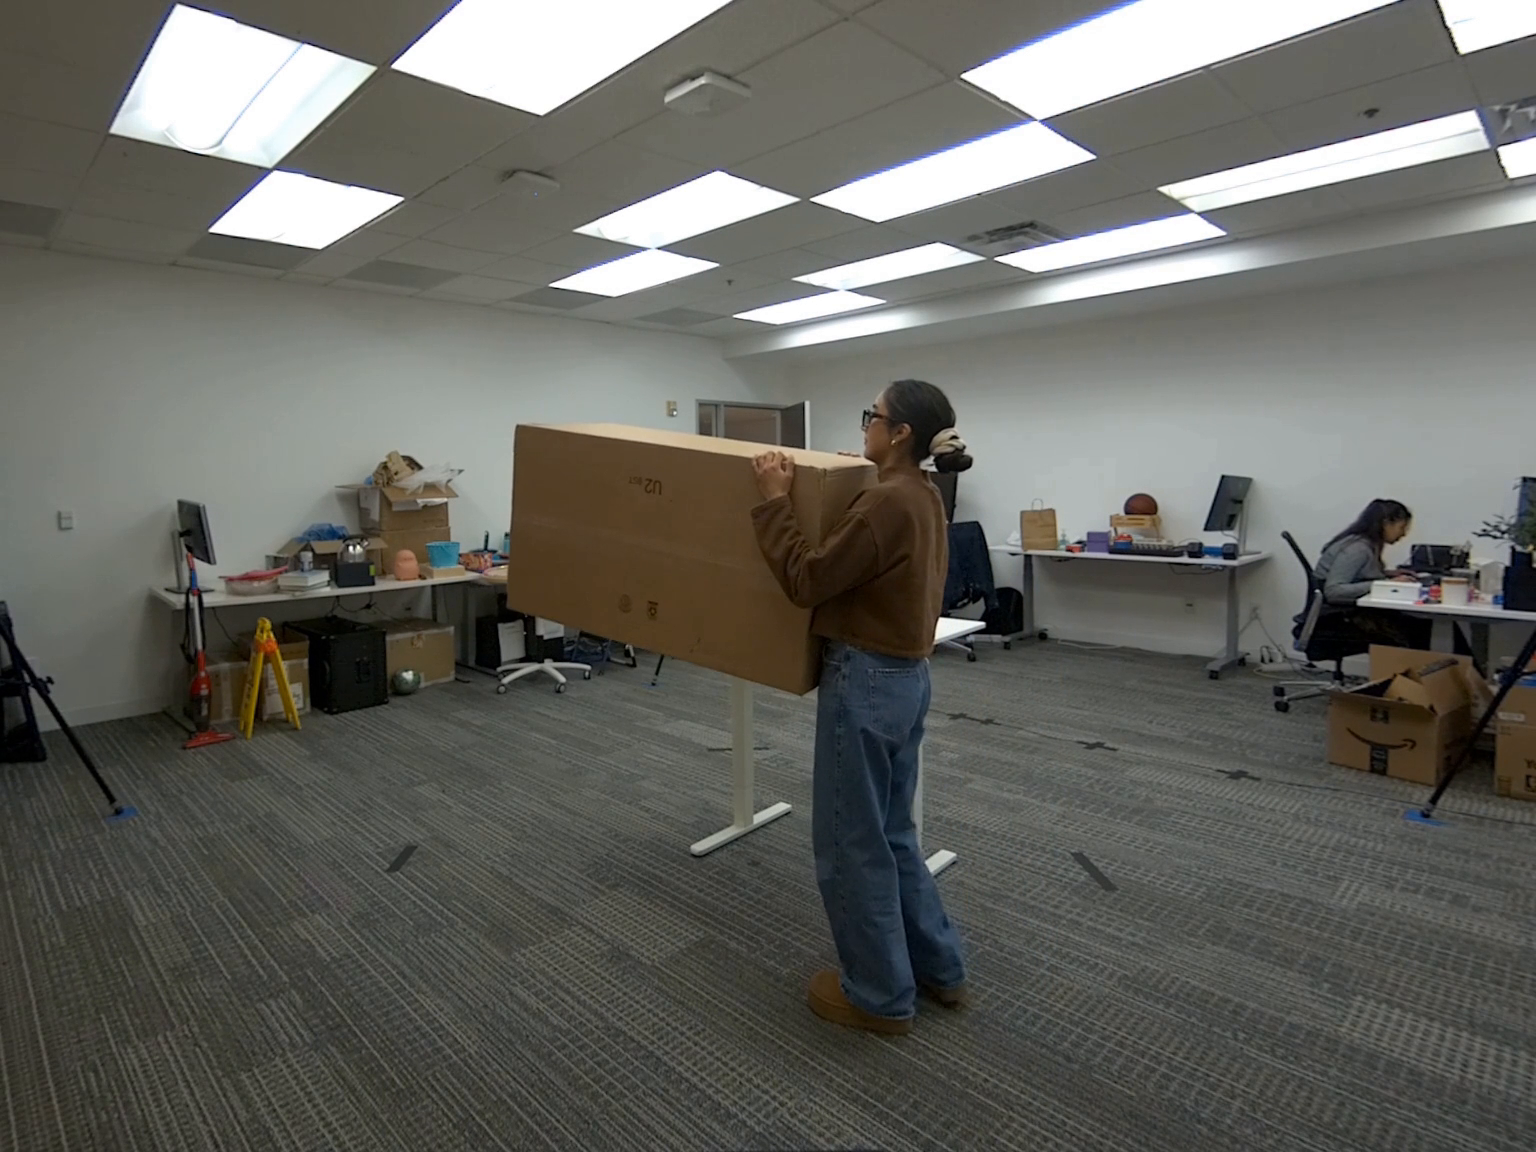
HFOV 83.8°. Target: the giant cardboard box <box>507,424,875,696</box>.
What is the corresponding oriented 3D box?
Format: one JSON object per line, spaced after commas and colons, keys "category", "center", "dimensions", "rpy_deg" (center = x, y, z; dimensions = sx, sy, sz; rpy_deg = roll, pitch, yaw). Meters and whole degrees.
{"category": "giant cardboard box", "center": [-0.234, -0.103, 2.511], "dimensions": [1.057, 0.572, 0.418], "rpy_deg": [12, 14, 30]}
